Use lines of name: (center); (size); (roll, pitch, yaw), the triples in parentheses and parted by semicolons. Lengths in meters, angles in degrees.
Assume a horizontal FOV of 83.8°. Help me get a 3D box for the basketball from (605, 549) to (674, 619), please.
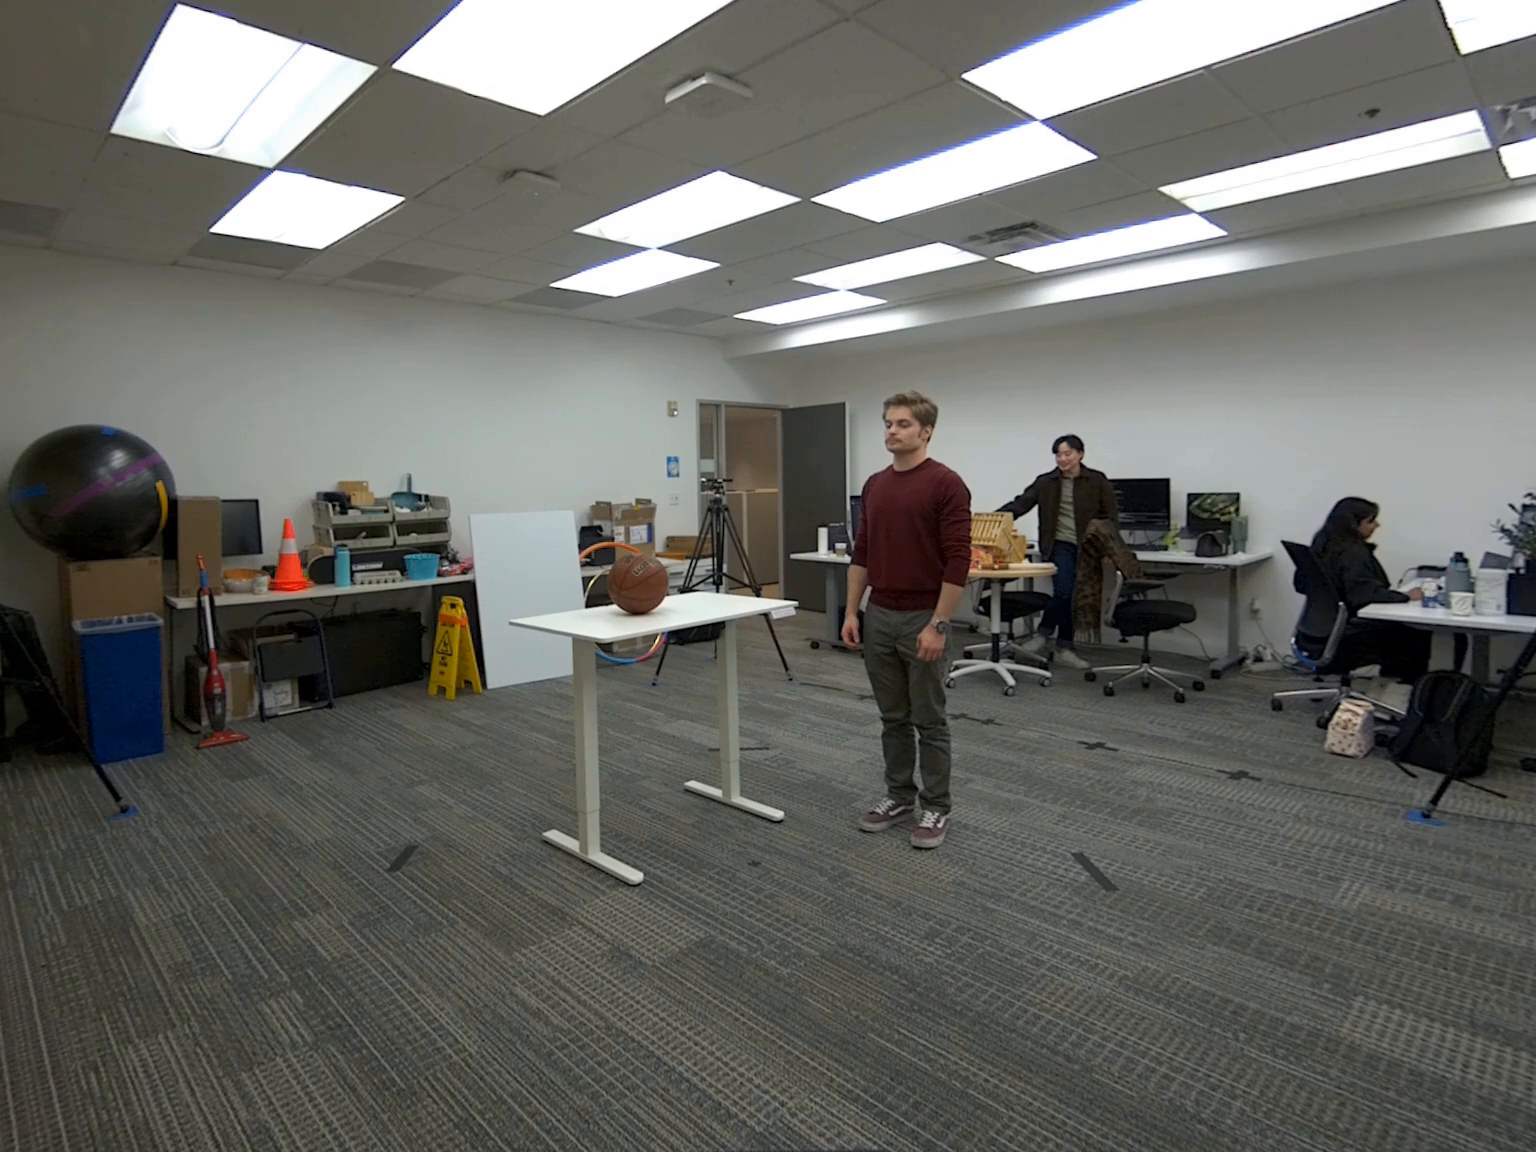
basketball: (-0.494, 0.025, 3.325); (0.236, 0.235, 0.237); (-1, 5, -2)
